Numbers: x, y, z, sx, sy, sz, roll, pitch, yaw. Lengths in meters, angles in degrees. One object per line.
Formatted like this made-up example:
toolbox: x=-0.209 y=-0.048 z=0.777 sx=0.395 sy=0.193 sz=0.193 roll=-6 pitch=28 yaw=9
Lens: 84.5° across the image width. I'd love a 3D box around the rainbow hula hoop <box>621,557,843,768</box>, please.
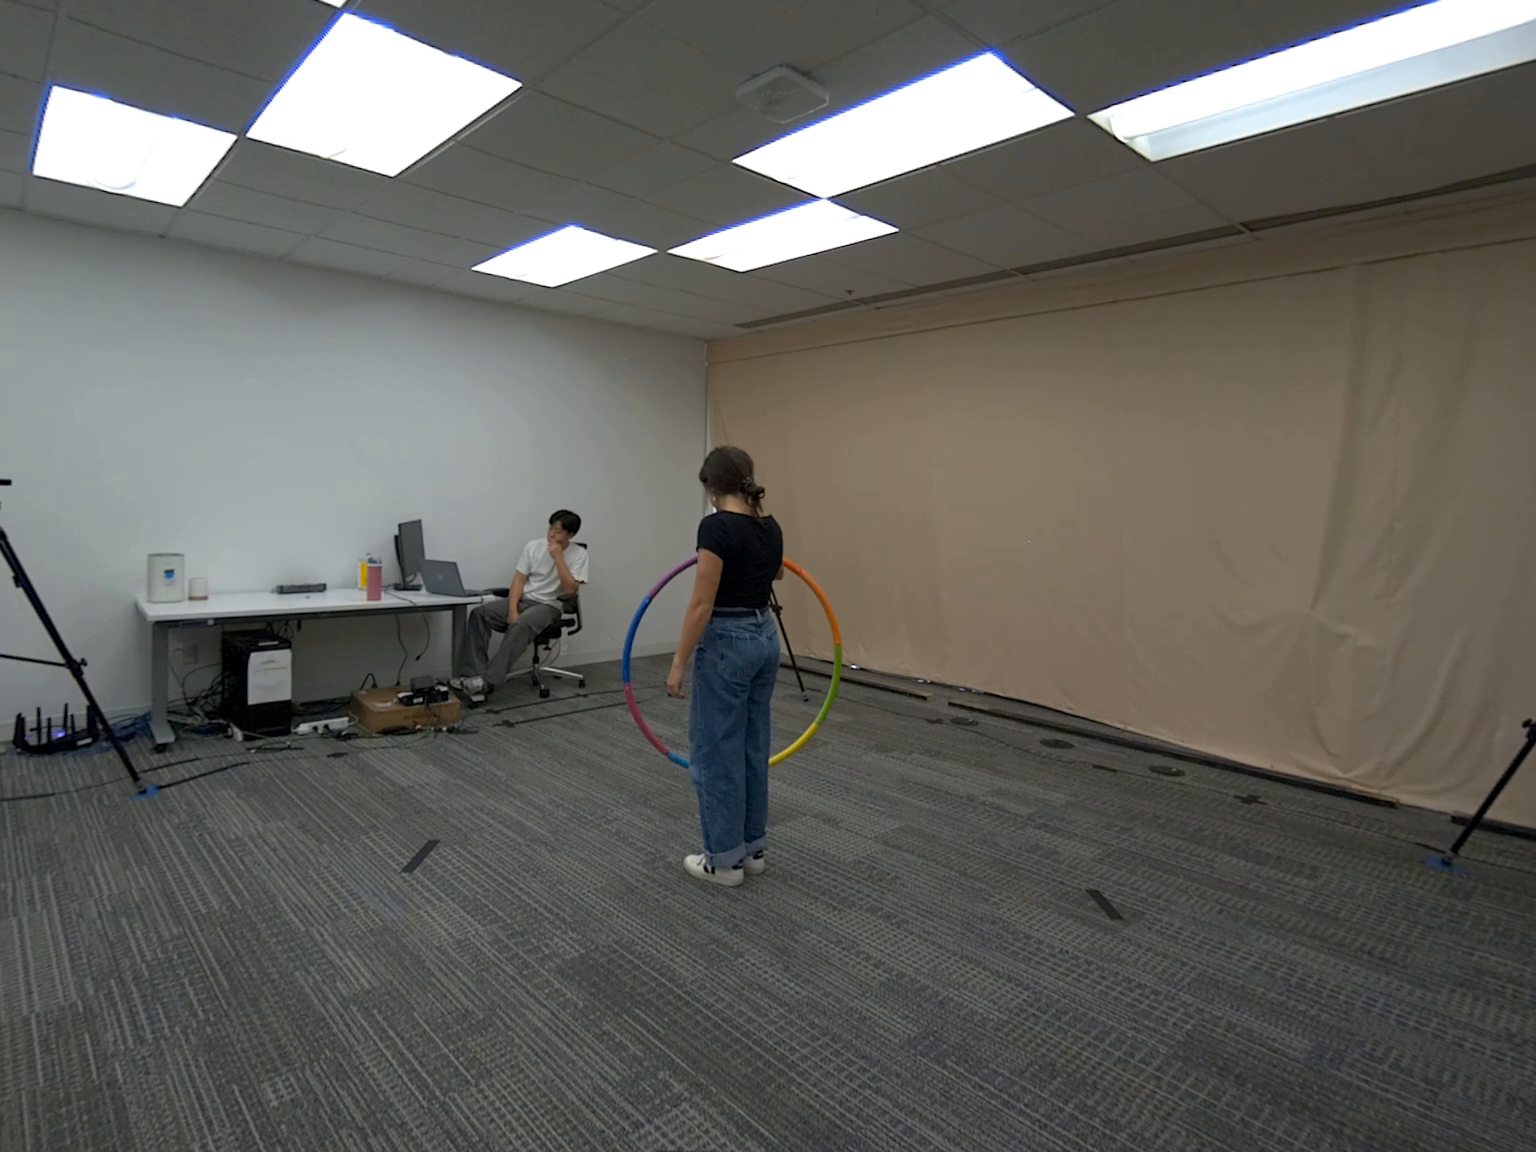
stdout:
rainbow hula hoop: x=-0.150 y=0.369 z=3.629 sx=0.967 sy=0.976 sz=0.036 roll=0 pitch=3 yaw=-14
